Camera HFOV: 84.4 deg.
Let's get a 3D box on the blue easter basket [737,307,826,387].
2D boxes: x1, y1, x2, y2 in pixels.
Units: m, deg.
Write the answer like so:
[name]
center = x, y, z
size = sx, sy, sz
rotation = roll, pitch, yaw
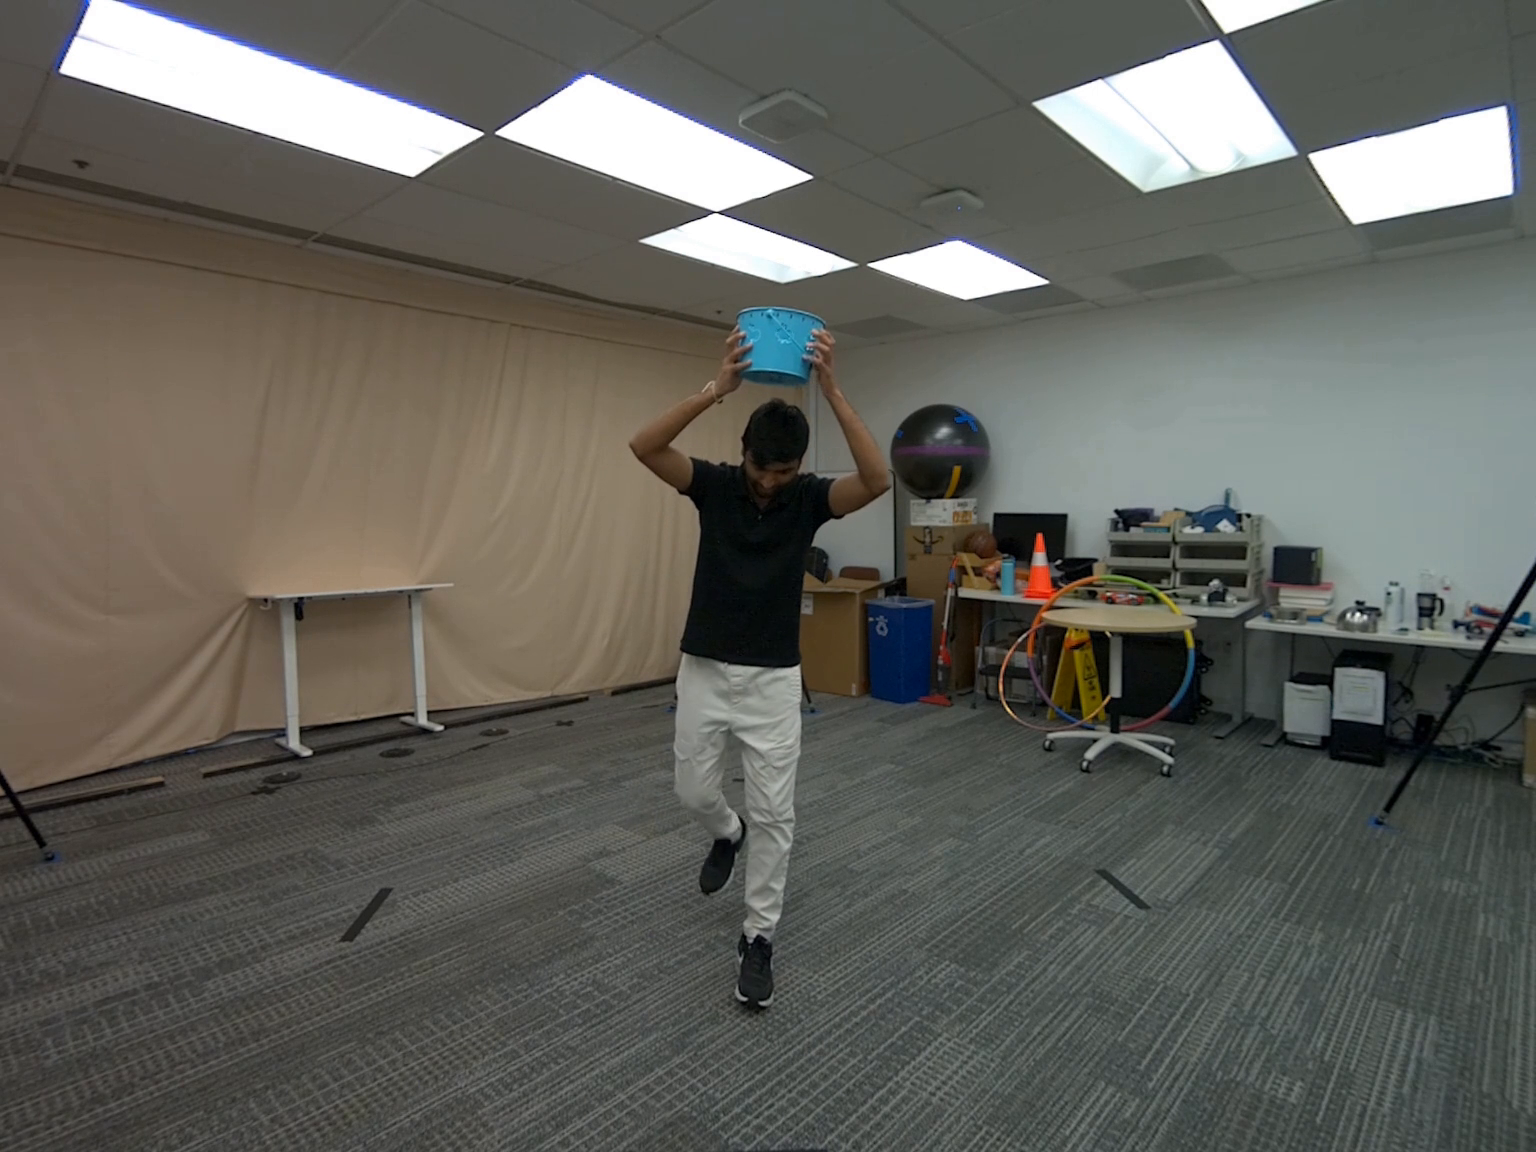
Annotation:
[blue easter basket]
center = 0.028, -0.594, 2.186
size = 0.243, 0.155, 0.244
rotation = 7, 3, -2
